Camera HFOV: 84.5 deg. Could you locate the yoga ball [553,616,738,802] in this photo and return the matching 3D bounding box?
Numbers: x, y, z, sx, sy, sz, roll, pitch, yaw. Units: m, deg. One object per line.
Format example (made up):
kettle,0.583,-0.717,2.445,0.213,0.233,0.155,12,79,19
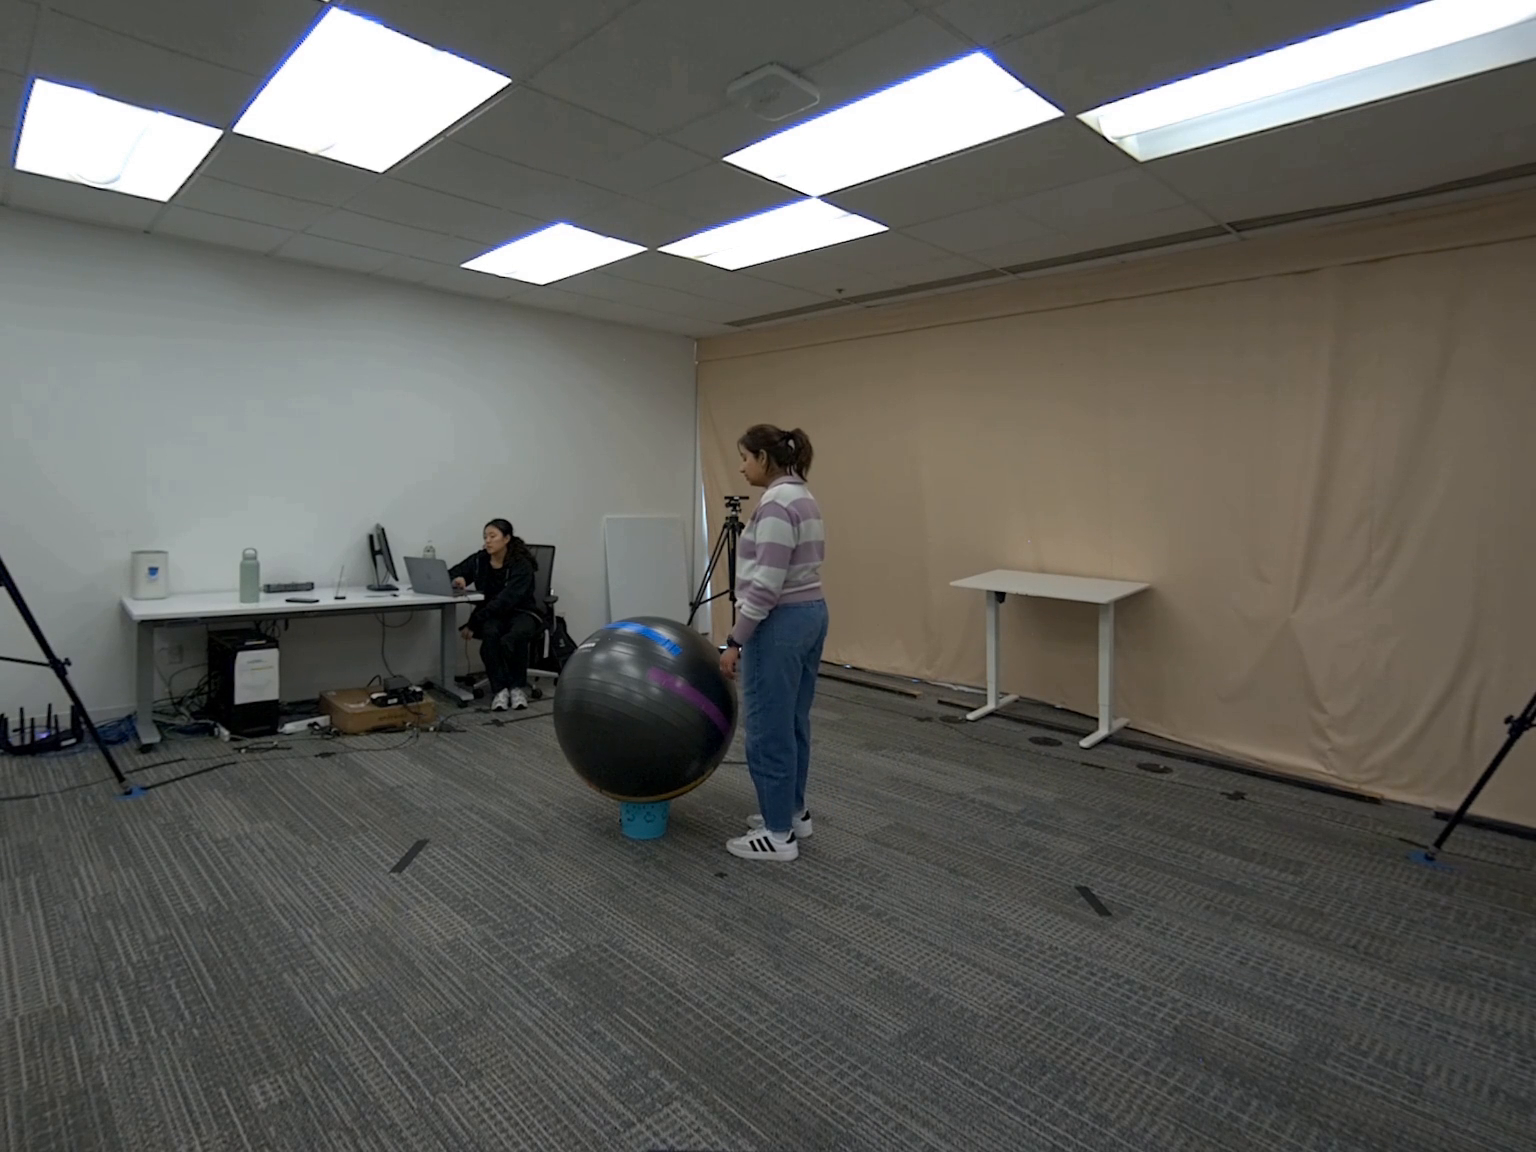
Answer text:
yoga ball,-0.514,0.551,3.510,0.757,0.756,0.761,1,4,-1
